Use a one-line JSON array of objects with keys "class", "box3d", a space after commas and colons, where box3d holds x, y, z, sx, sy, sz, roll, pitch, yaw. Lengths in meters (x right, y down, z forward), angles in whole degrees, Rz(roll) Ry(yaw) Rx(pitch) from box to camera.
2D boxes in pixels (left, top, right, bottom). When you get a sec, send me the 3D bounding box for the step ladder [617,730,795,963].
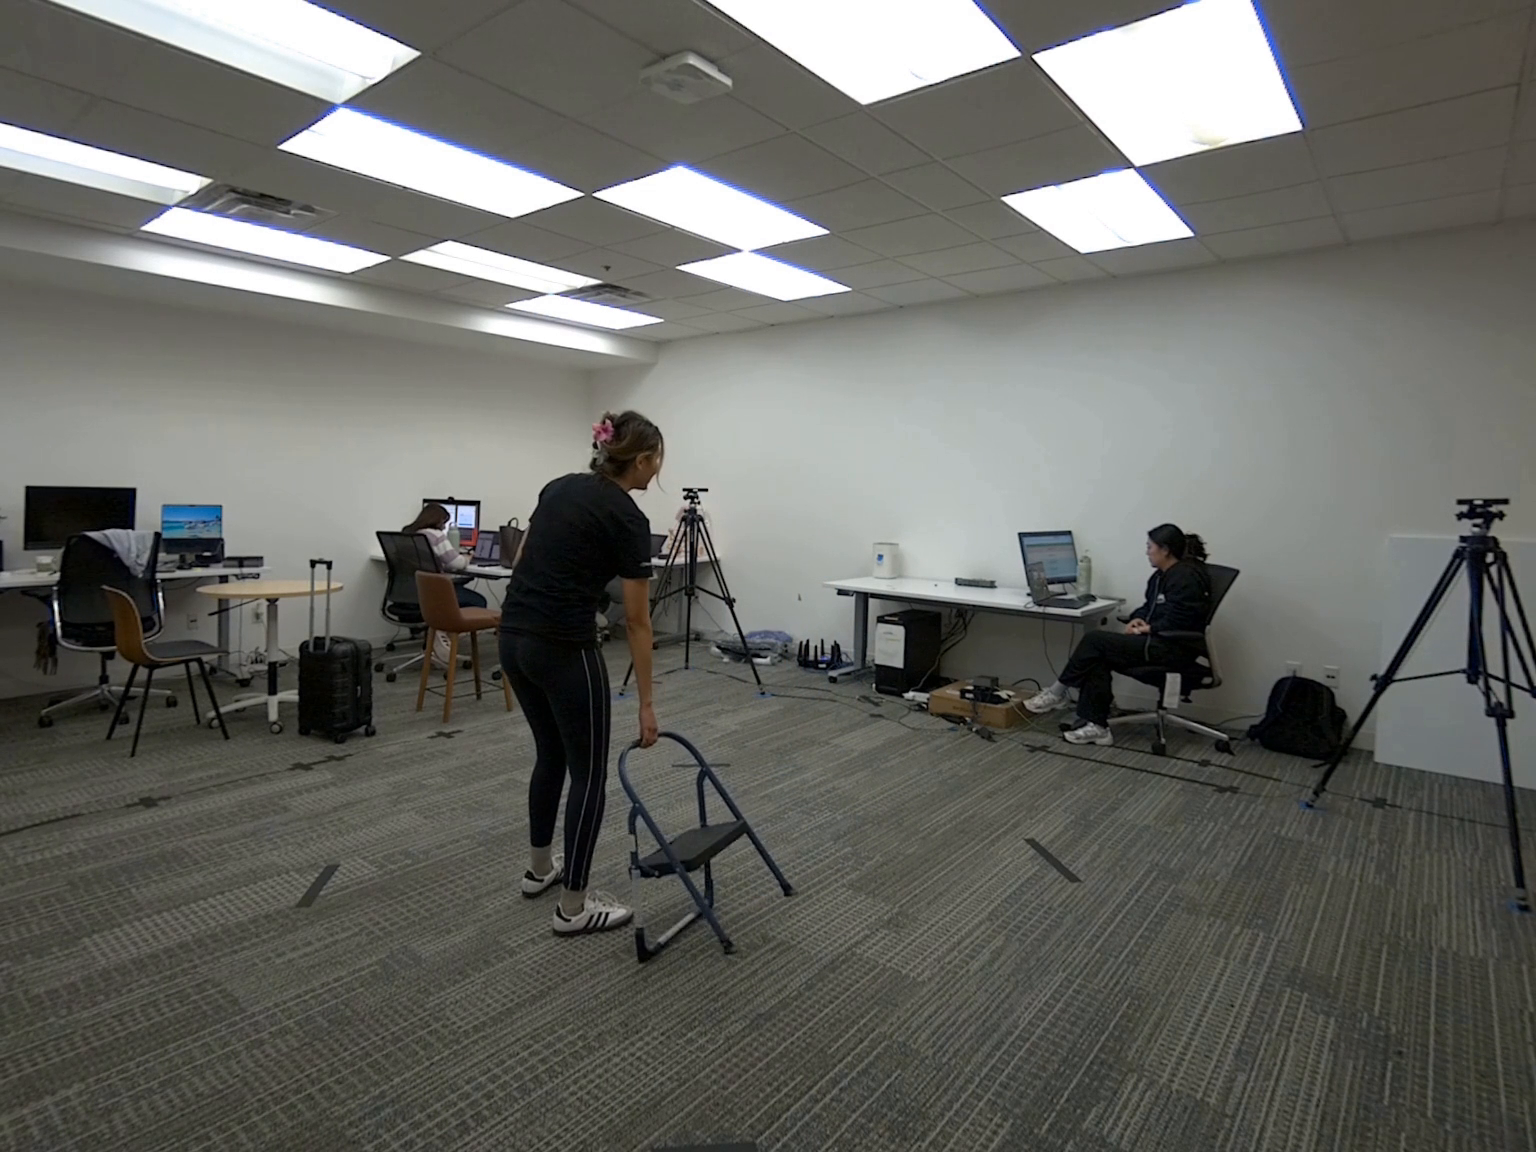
[{"class": "step ladder", "box3d": [-0.238, 0.778, 2.625, 0.354, 0.612, 0.420, -22, -8, 27]}]
